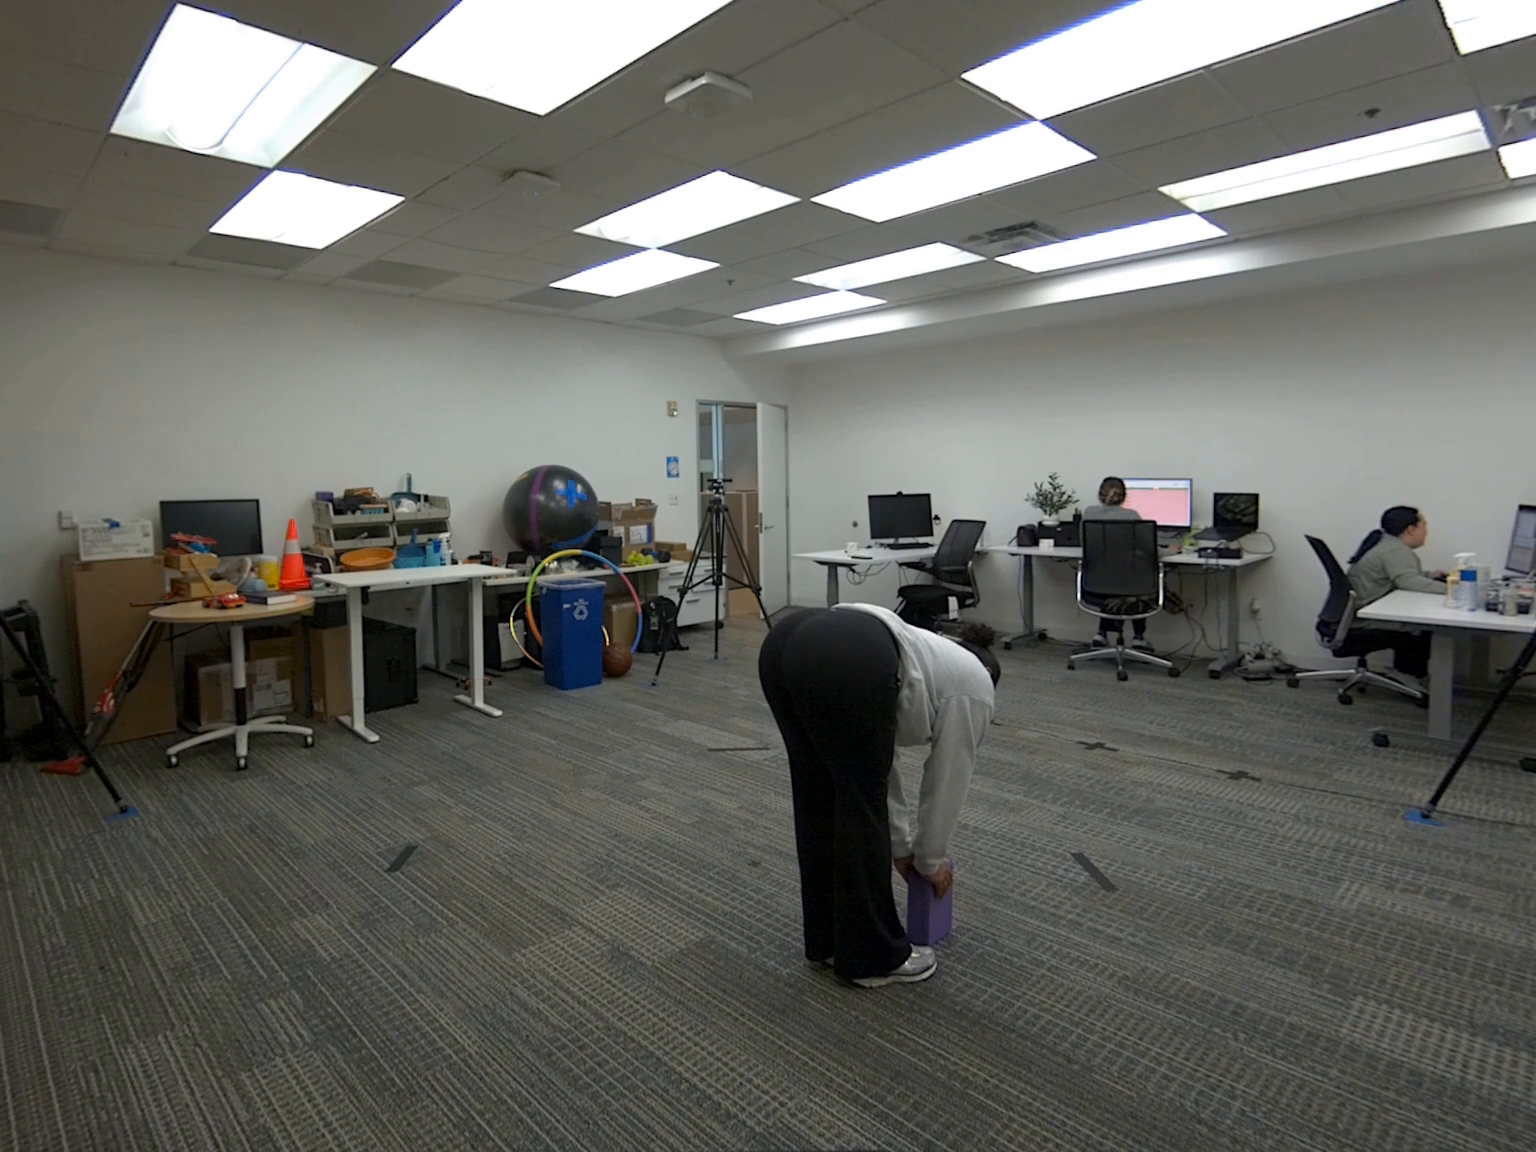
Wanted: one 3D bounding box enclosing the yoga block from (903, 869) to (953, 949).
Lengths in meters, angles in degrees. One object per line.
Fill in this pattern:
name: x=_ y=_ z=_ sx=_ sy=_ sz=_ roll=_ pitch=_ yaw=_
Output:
yoga block: x=0.495 y=0.980 z=2.576 sx=0.079 sy=0.228 sz=0.145 roll=7 pitch=9 yaw=42
